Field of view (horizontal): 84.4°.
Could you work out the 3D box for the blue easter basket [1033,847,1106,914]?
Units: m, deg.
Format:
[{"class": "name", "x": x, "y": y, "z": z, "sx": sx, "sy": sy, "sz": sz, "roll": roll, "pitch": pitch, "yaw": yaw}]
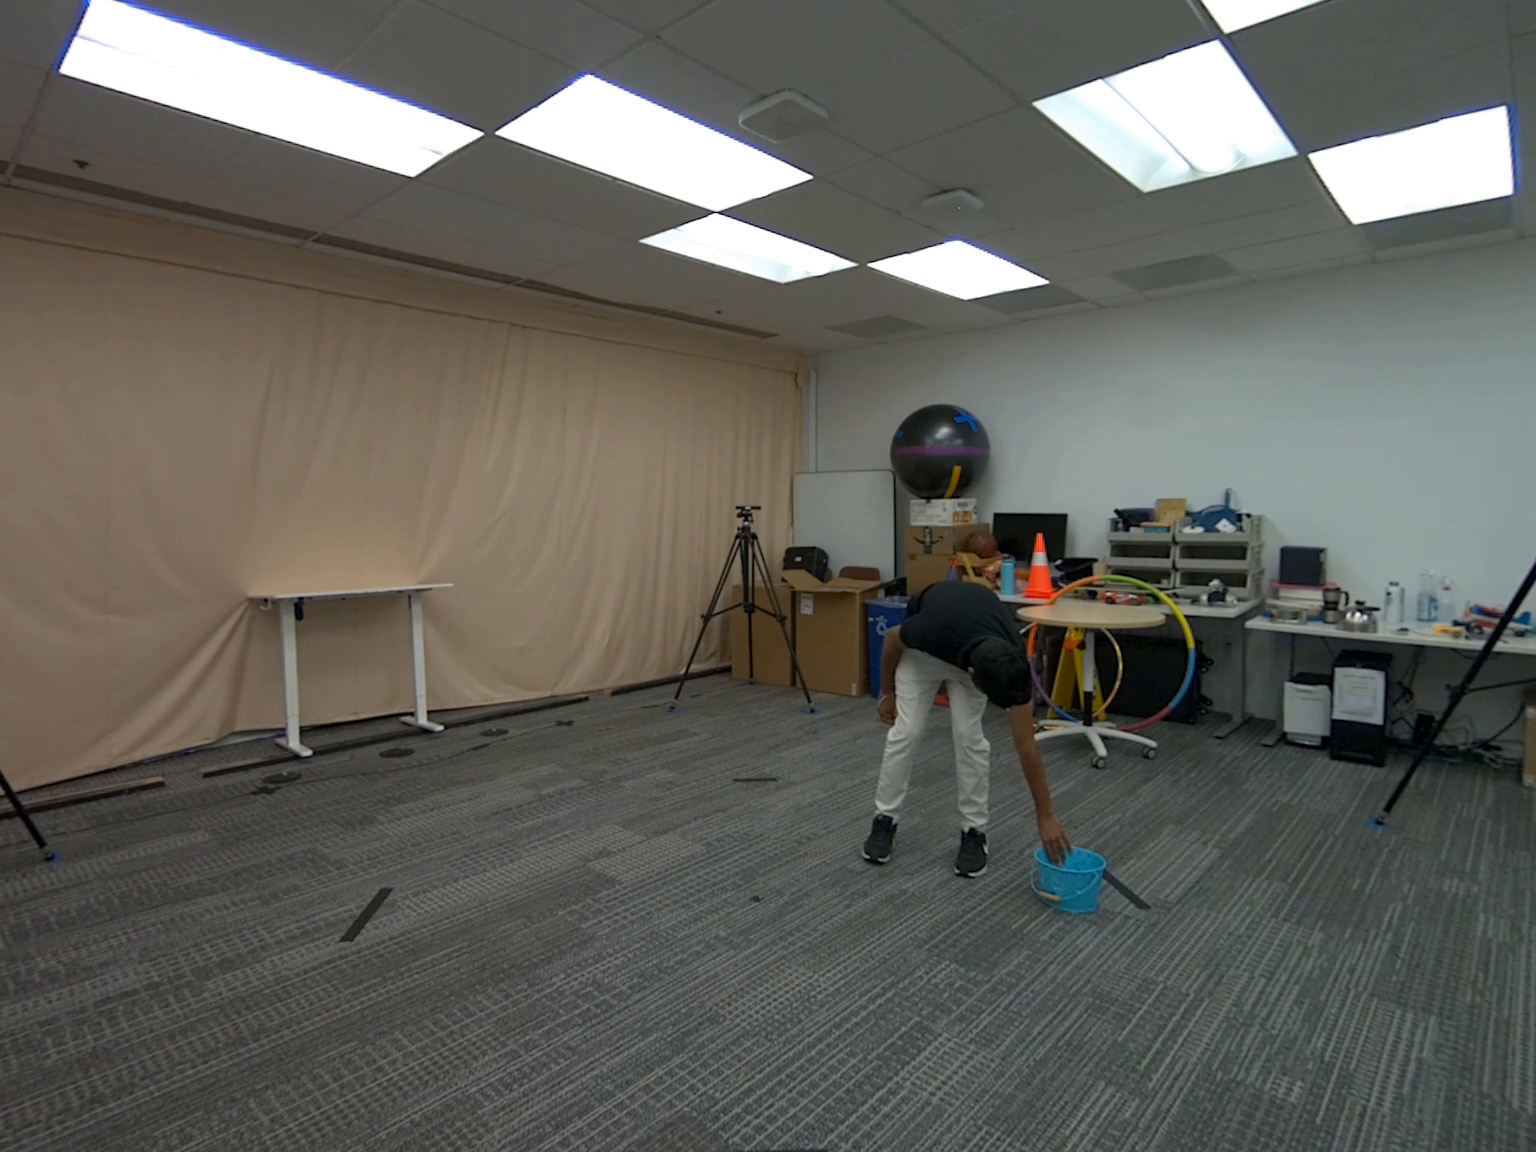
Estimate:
[{"class": "blue easter basket", "x": 1.069, "y": 1.069, "z": 2.968, "sx": 0.243, "sy": 0.155, "sz": 0.244, "roll": 0, "pitch": 4, "yaw": -2}]
